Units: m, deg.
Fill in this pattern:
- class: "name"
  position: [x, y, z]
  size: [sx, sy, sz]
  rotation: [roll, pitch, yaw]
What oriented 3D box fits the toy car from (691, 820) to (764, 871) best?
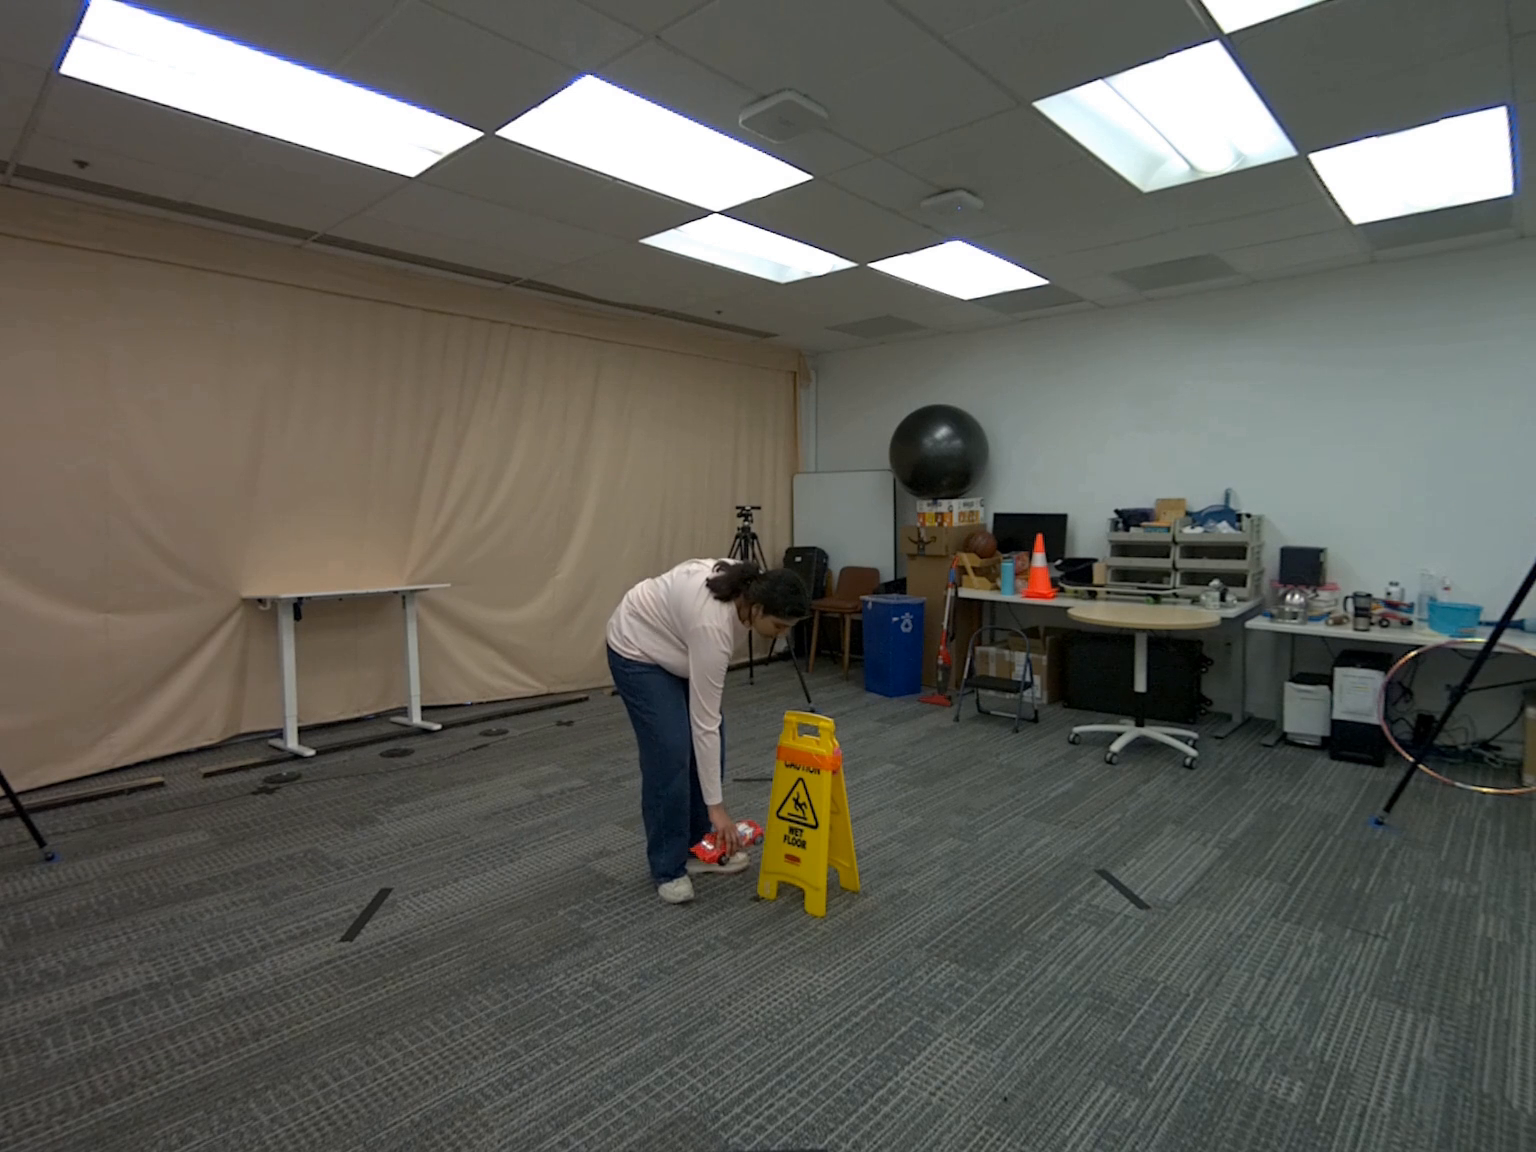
- class: "toy car"
  position: [-0.131, 0.898, 2.831]
  size: [0.248, 0.082, 0.135]
  rotation: [-7, 13, -34]
